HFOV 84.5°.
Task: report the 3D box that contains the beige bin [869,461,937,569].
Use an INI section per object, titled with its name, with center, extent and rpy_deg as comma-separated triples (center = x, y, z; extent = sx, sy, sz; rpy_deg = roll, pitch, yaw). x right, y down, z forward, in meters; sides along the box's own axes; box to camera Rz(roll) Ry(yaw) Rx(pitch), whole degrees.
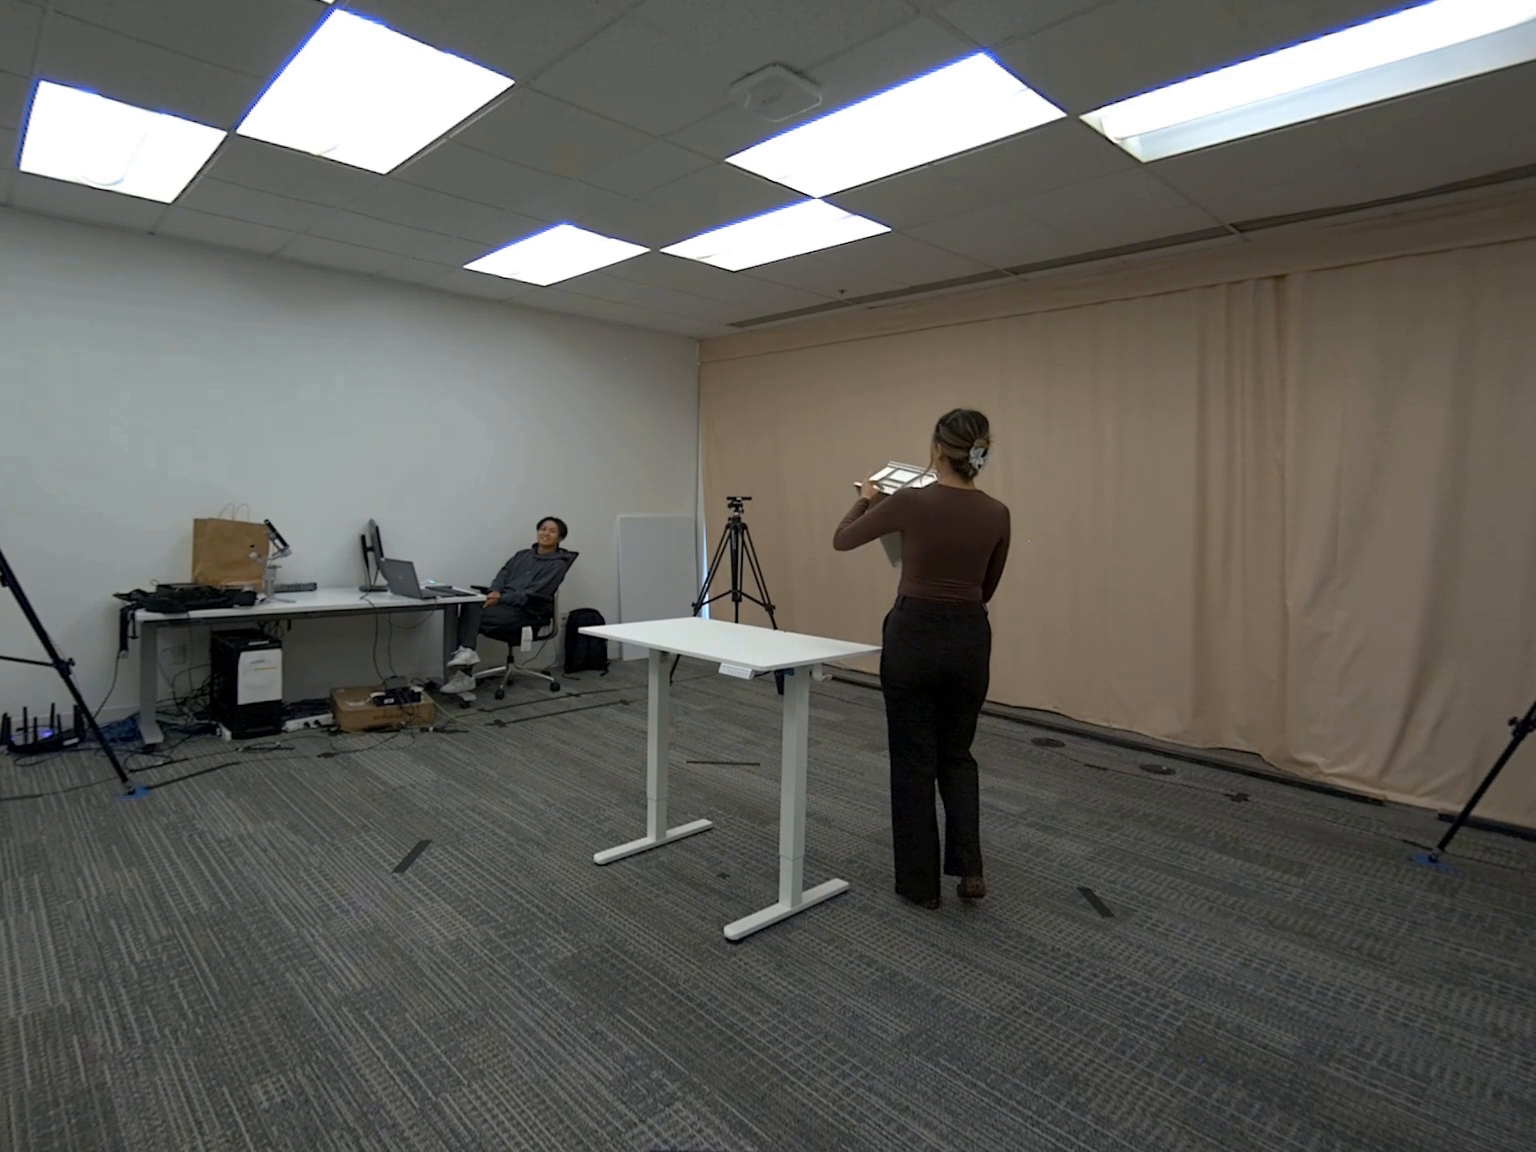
[beige bin]
center = 0.559, -0.196, 3.277
extent = 0.188, 0.413, 0.387
rpy_deg = -34, 25, -11
